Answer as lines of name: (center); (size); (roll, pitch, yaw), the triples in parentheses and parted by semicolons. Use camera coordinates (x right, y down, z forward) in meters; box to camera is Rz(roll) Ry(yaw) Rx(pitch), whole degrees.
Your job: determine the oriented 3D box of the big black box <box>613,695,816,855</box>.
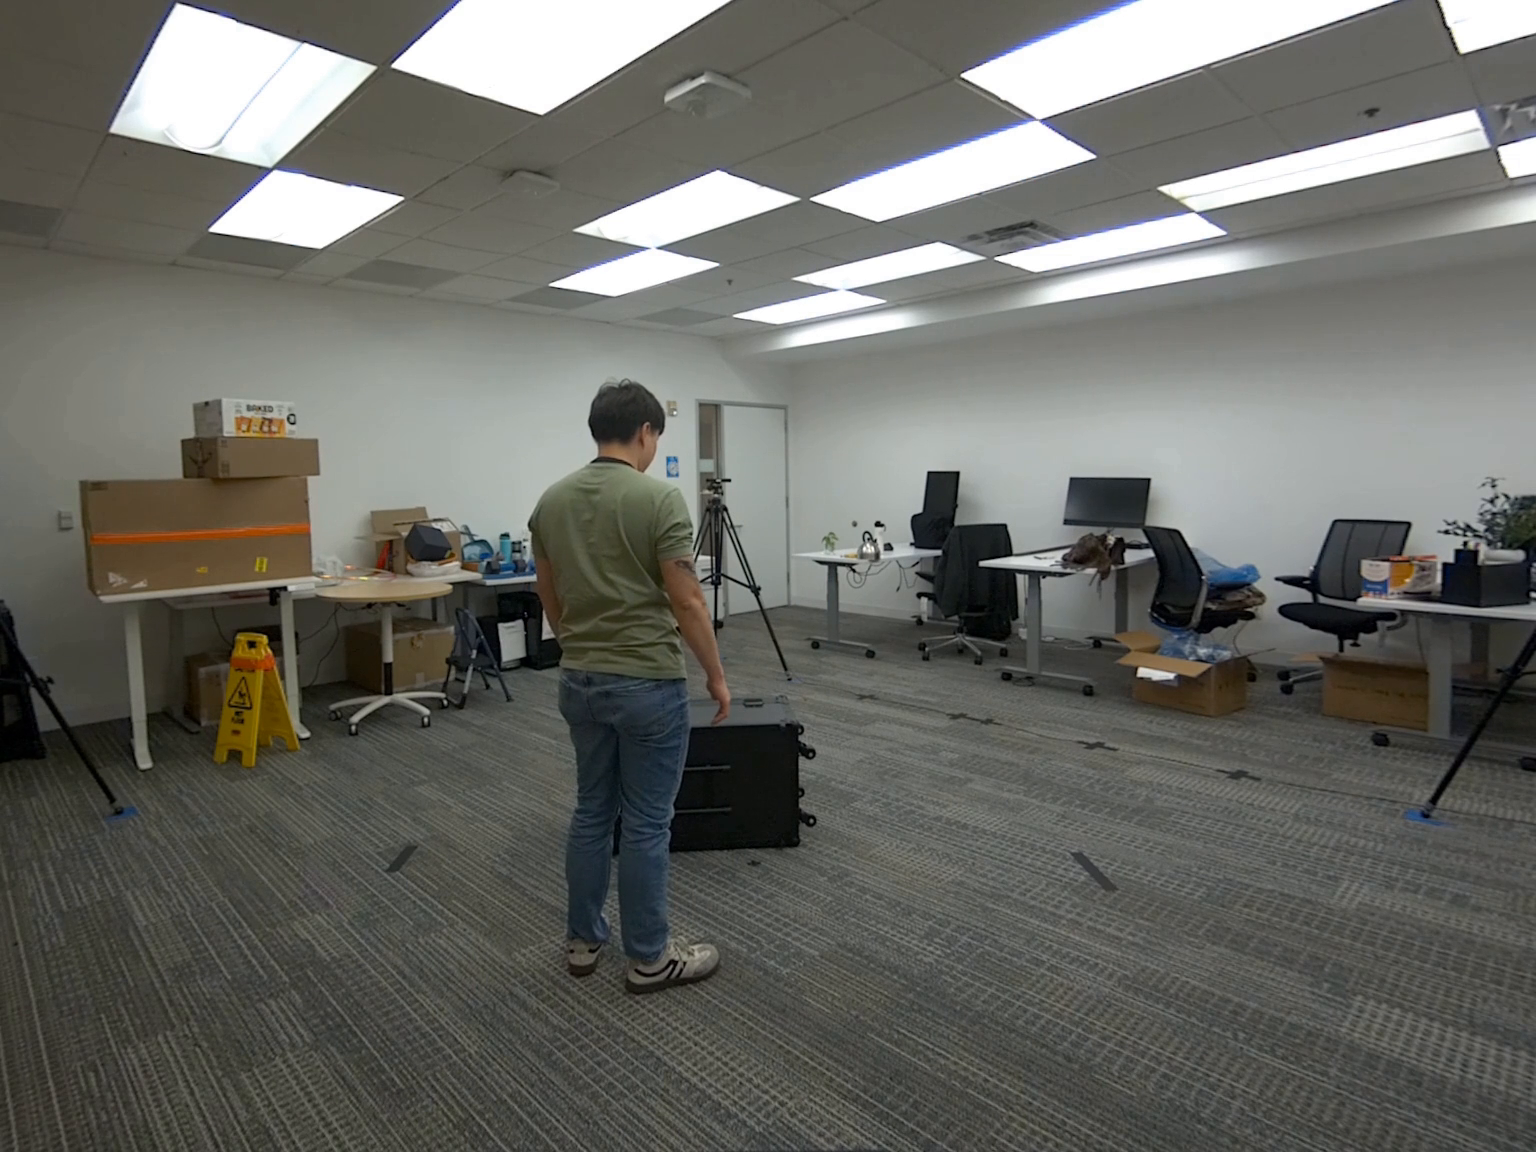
big black box: (-0.257, 0.764, 3.345); (0.857, 0.518, 0.400); (-2, 7, -5)
